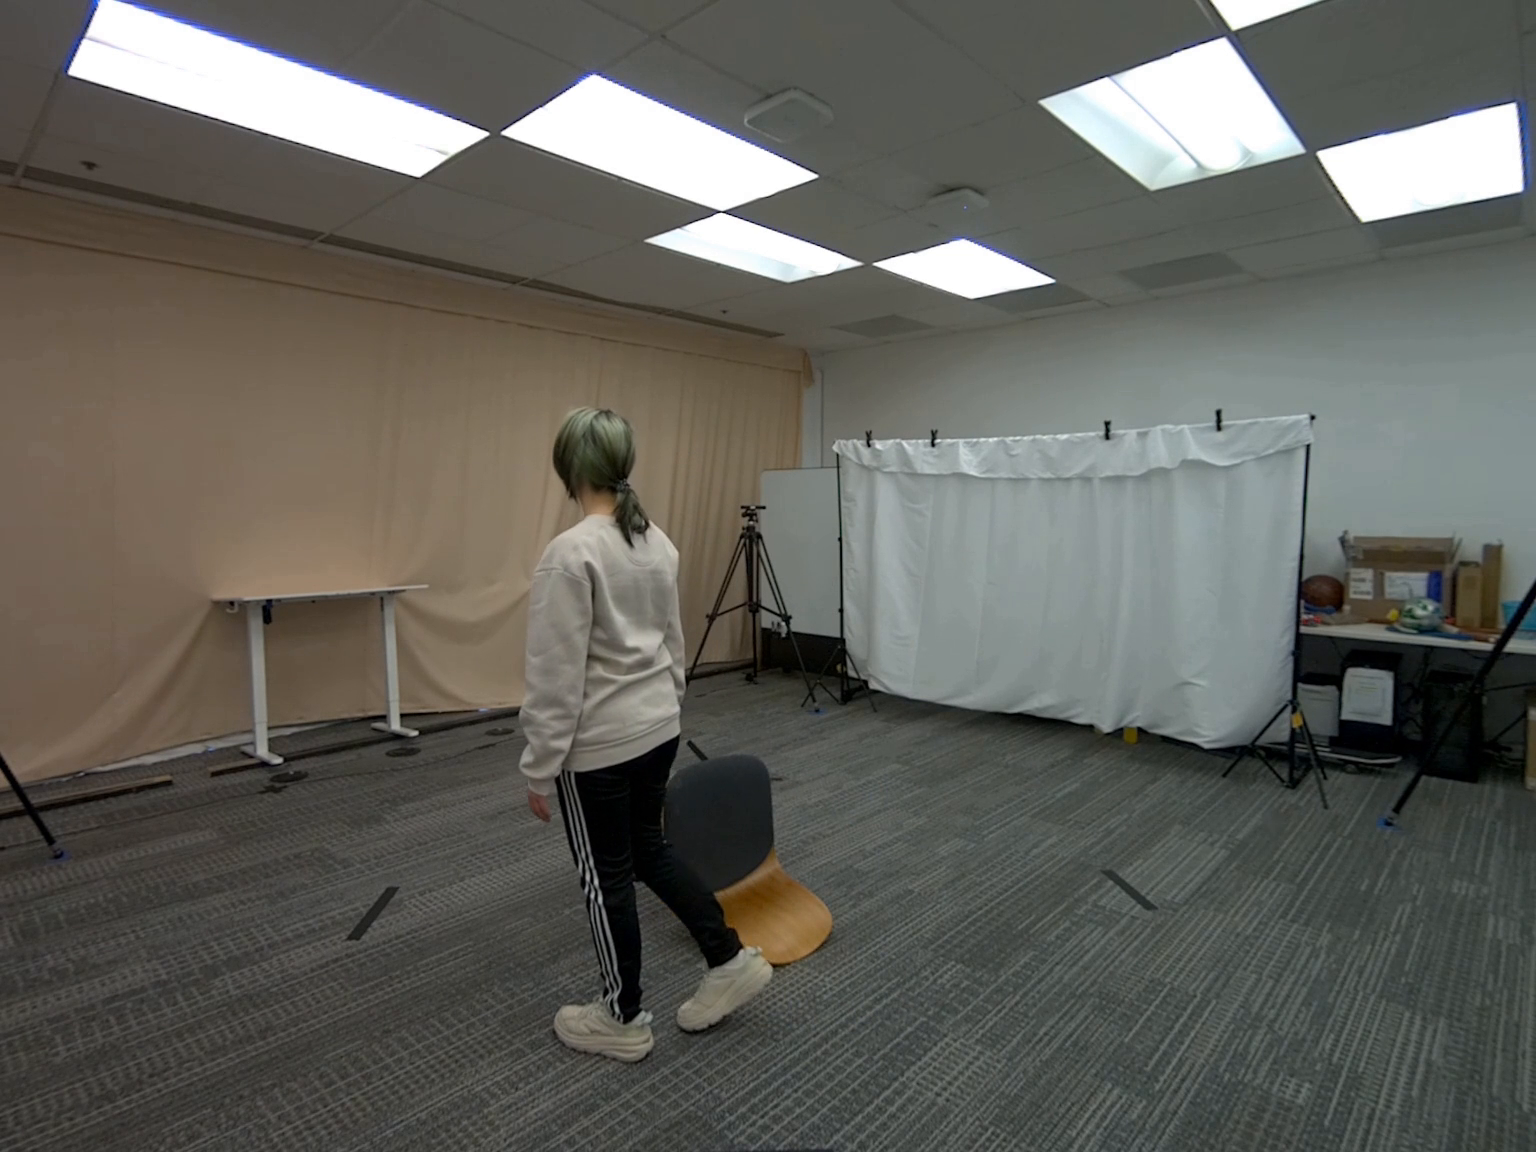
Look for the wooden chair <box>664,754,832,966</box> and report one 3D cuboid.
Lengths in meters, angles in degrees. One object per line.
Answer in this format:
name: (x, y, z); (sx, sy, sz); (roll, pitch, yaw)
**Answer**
wooden chair: (-0.187, 0.893, 2.910); (0.464, 0.522, 0.907); (-3, 6, -39)
